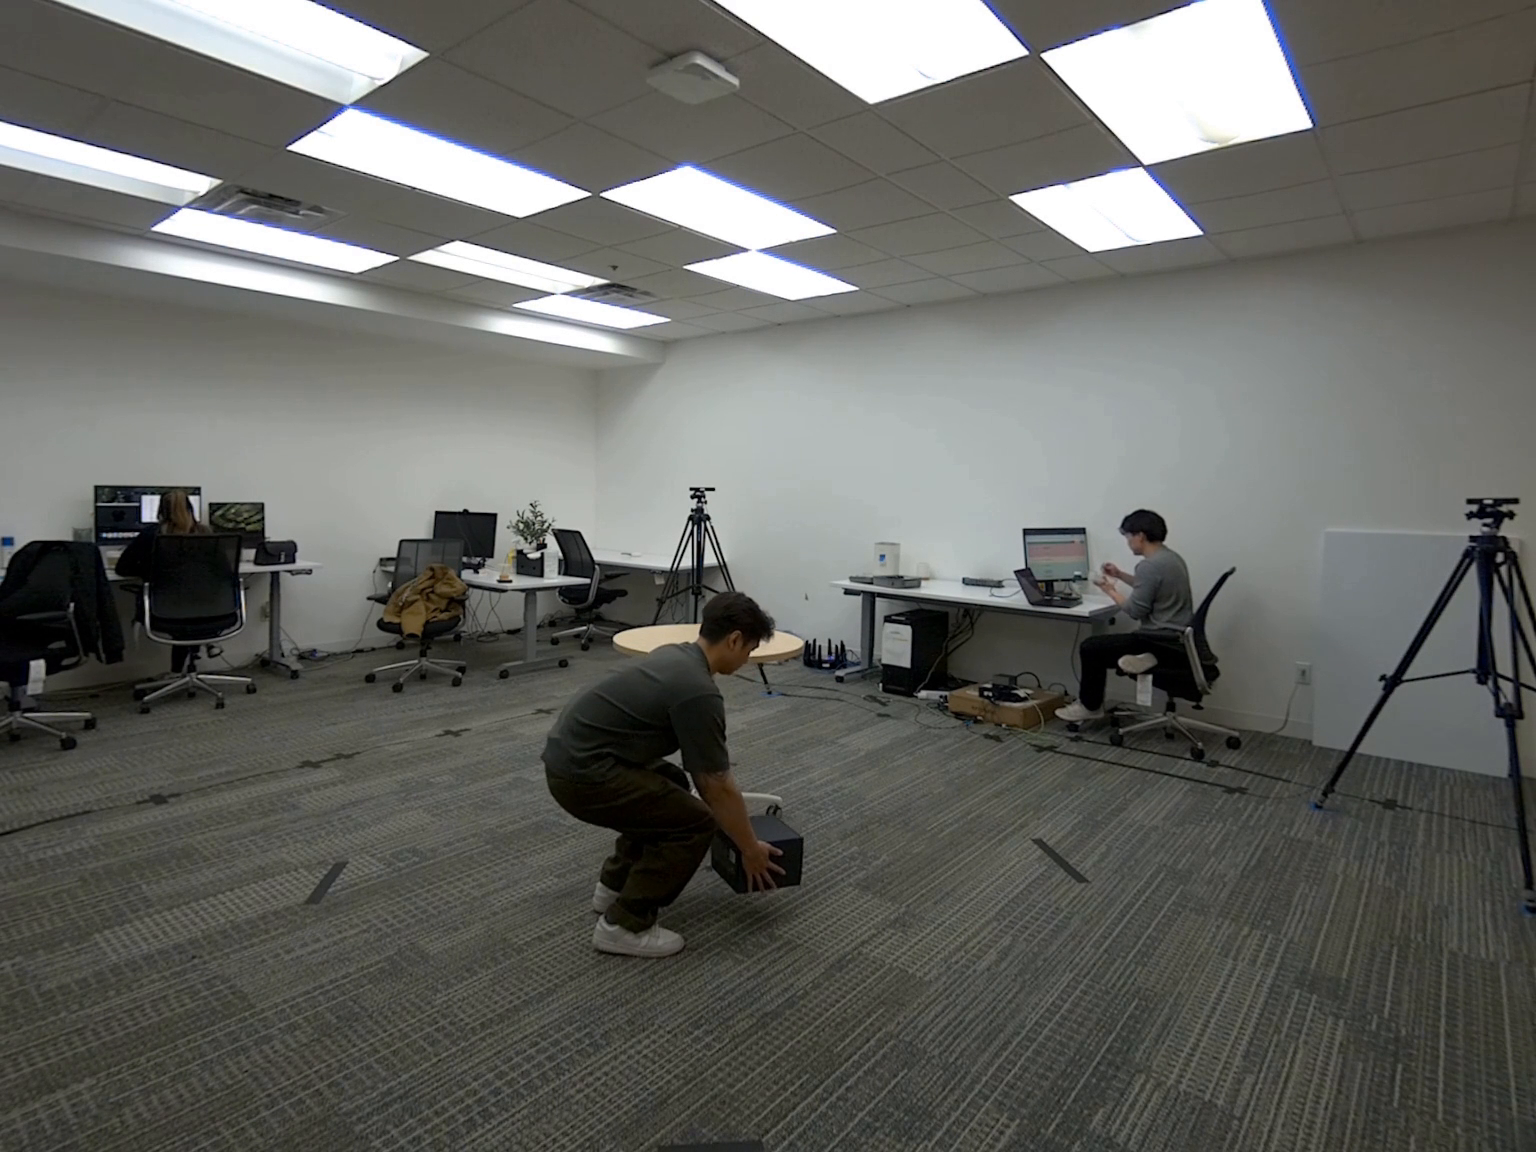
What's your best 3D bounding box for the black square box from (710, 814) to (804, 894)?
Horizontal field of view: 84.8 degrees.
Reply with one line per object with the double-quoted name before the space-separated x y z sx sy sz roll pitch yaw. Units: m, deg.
"black square box" -0.049 0.902 2.766 0.222 0.155 0.223 1 3 -25
